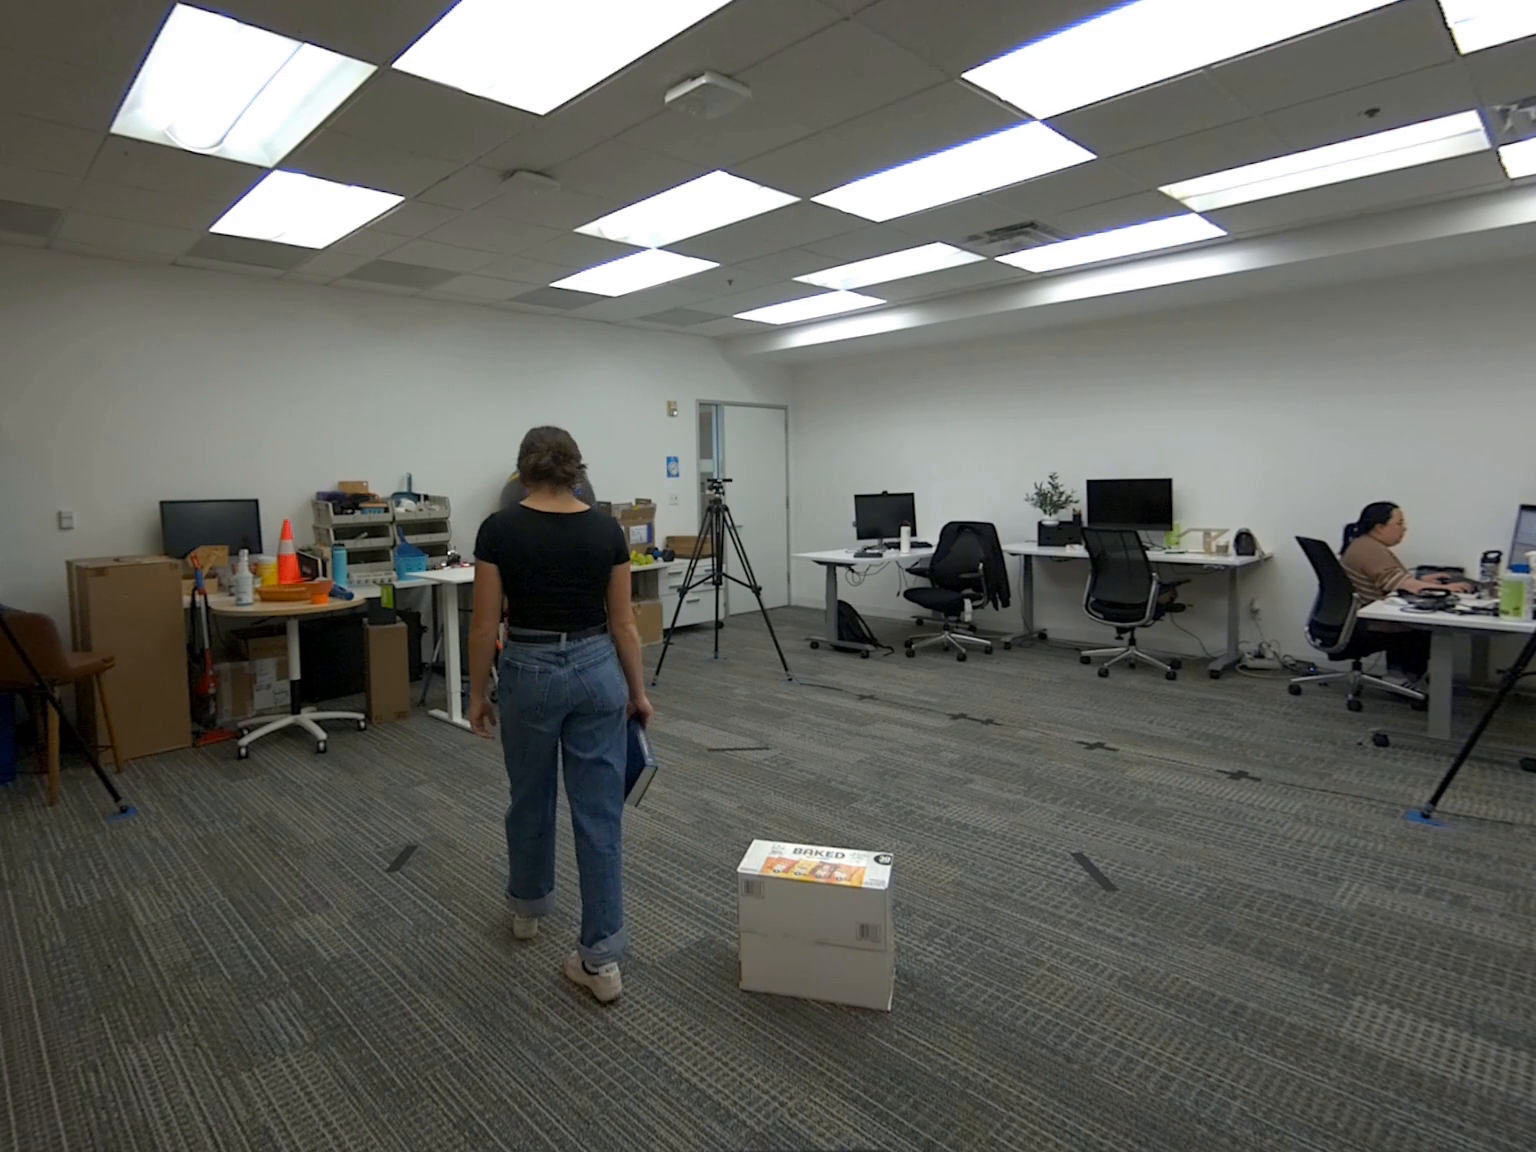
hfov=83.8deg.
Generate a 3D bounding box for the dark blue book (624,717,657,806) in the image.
[{"bbox_3d":[-0.412,0.540,2.555,0.044,0.162,0.254,19,24,-29],"label":"dark blue book"}]
